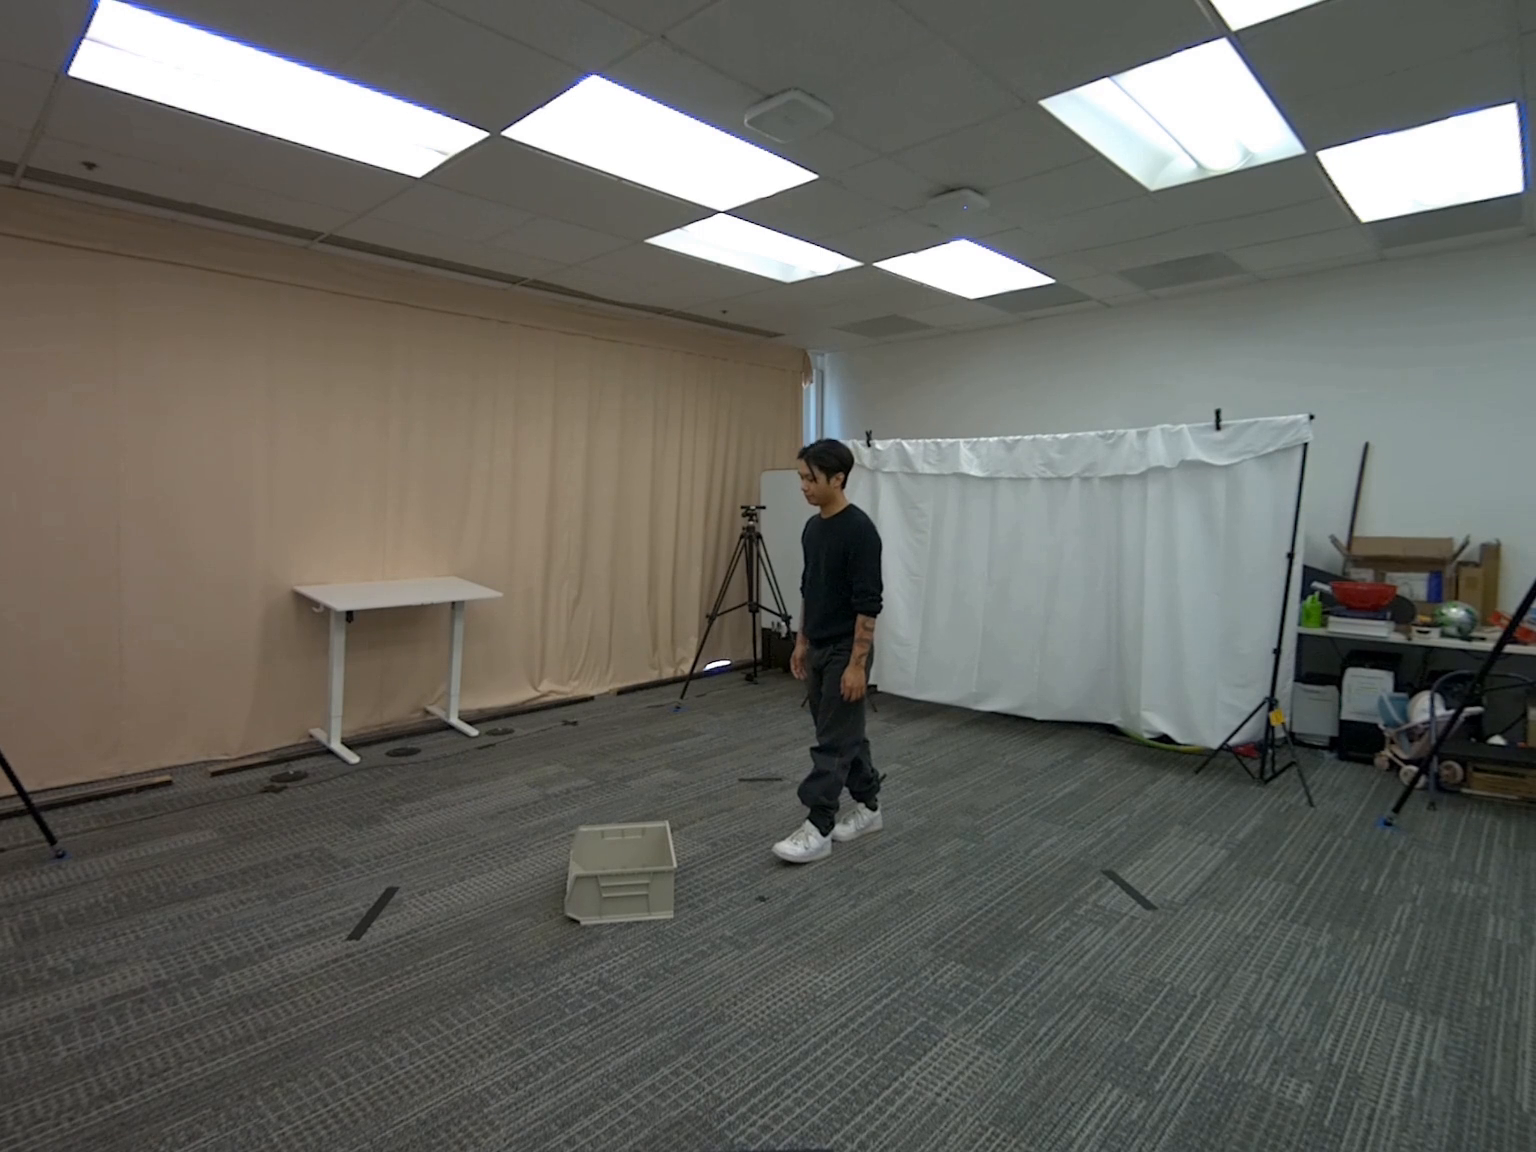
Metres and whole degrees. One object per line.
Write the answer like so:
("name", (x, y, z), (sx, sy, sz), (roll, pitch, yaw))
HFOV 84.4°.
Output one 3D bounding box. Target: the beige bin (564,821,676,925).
("beige bin", (-0.548, 1.064, 3.018), (0.374, 0.188, 0.427), (-1, 4, -9))
